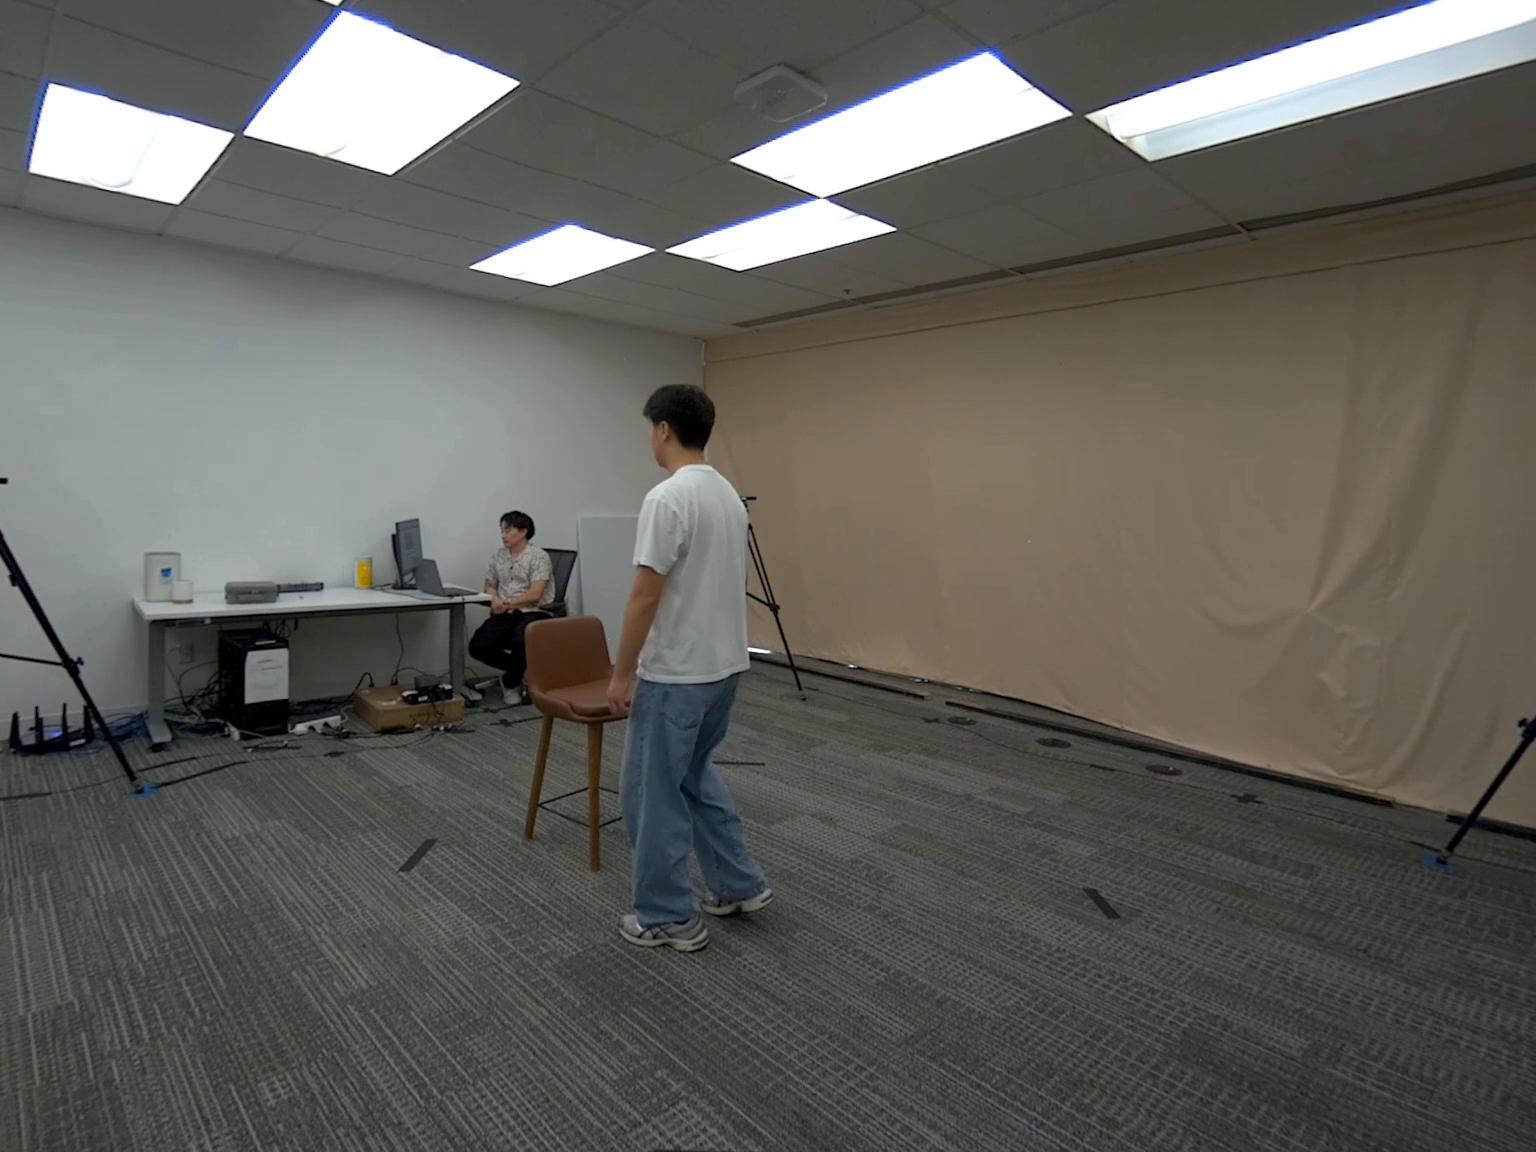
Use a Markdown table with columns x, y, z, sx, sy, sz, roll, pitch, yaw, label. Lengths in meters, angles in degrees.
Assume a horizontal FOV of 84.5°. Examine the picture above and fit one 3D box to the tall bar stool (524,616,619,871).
| x | y | z | sx | sy | sz | roll | pitch | yaw | label |
| --- | --- | --- | --- | --- | --- | --- | --- | --- | --- |
| -0.701 | 0.632 | 3.389 | 0.479 | 0.889 | 0.446 | 1 | 2 | 39 | tall bar stool |
